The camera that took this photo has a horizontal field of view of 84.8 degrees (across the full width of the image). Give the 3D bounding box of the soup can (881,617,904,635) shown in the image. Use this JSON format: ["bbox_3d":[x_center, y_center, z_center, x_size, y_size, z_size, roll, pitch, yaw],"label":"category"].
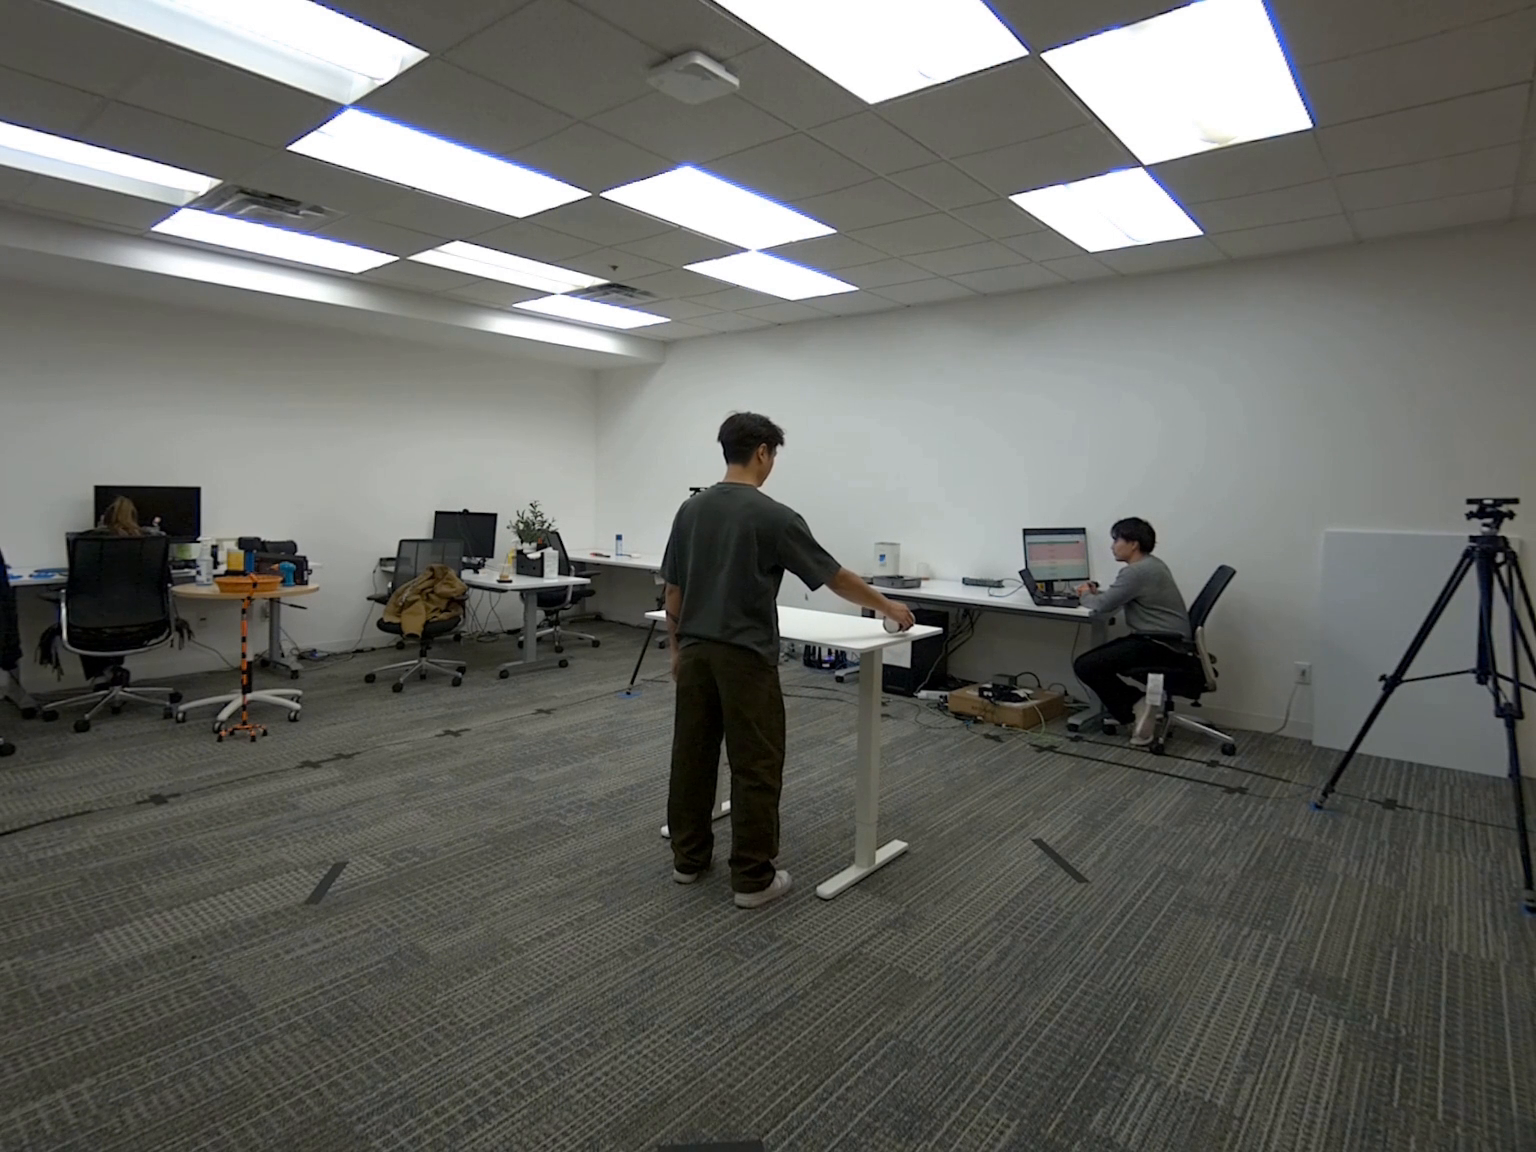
[{"bbox_3d":[0.459,0.163,3.043,0.069,0.067,0.118,5,10,43],"label":"soup can"}]
